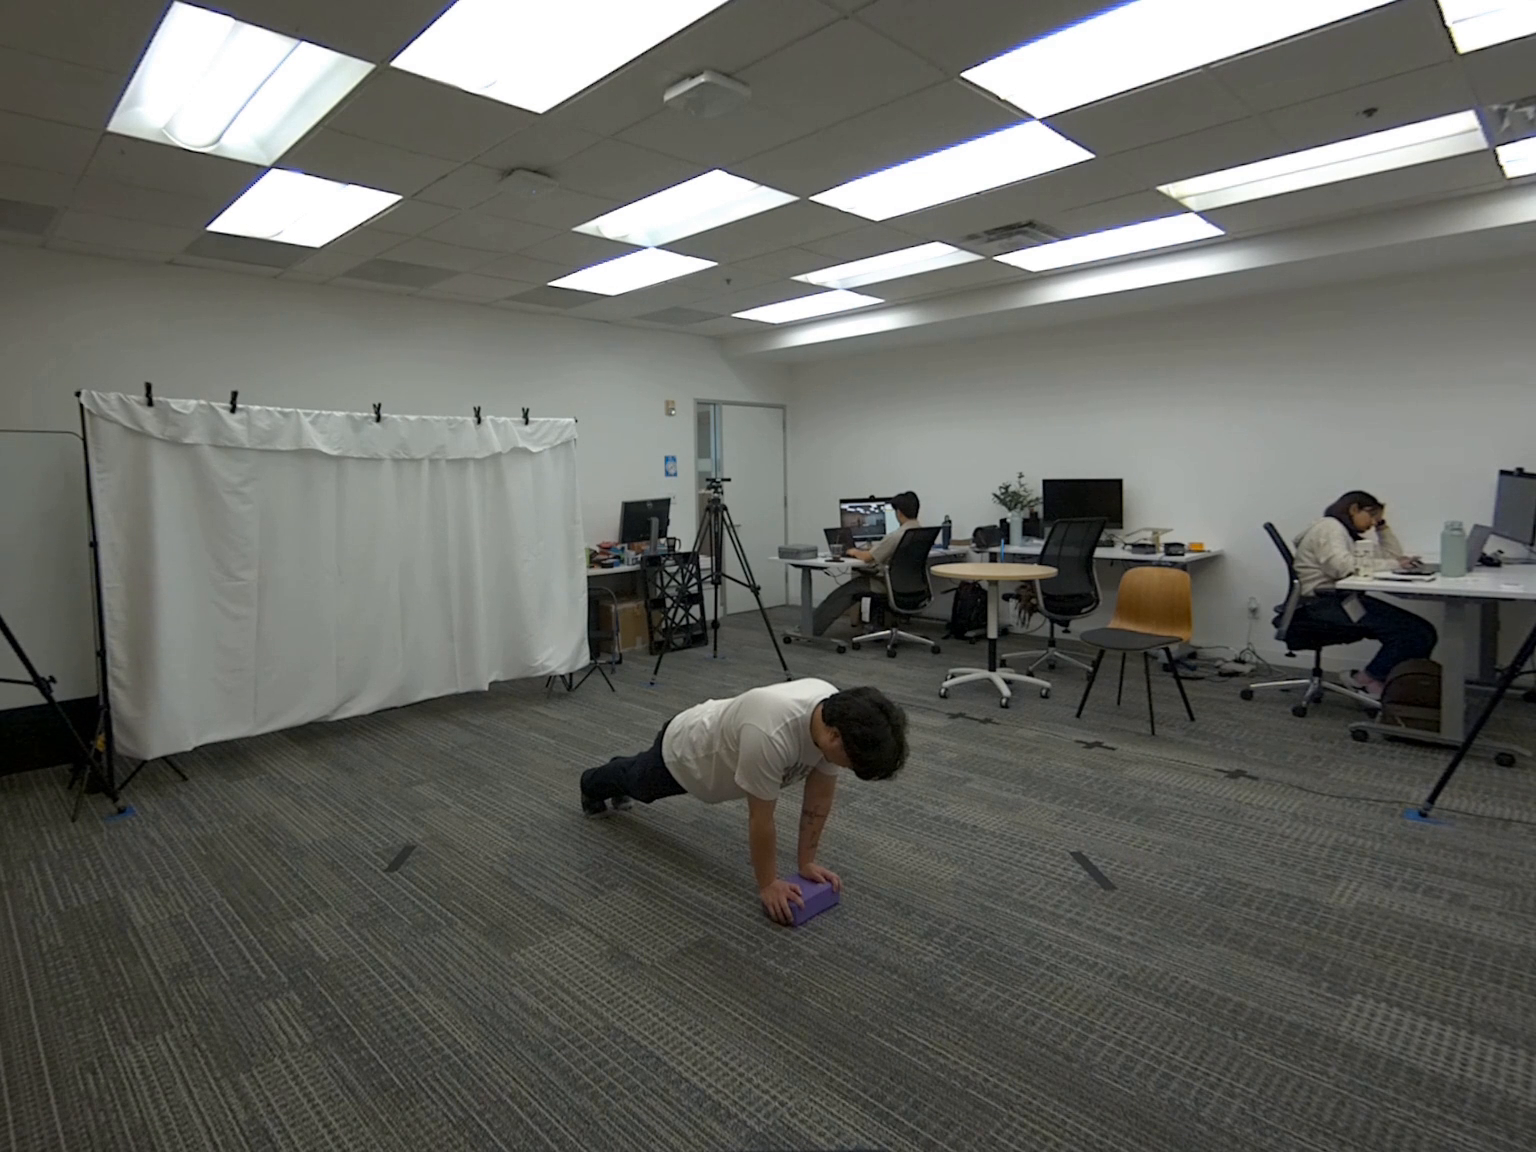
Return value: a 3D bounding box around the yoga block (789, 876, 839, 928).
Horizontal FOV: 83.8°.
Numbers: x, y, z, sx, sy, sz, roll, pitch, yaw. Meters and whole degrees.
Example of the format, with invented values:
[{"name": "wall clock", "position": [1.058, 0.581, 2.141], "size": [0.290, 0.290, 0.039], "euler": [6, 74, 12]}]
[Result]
[{"name": "yoga block", "position": [0.110, 1.046, 2.776], "size": [0.153, 0.076, 0.223], "euler": [3, 7, 43]}]
